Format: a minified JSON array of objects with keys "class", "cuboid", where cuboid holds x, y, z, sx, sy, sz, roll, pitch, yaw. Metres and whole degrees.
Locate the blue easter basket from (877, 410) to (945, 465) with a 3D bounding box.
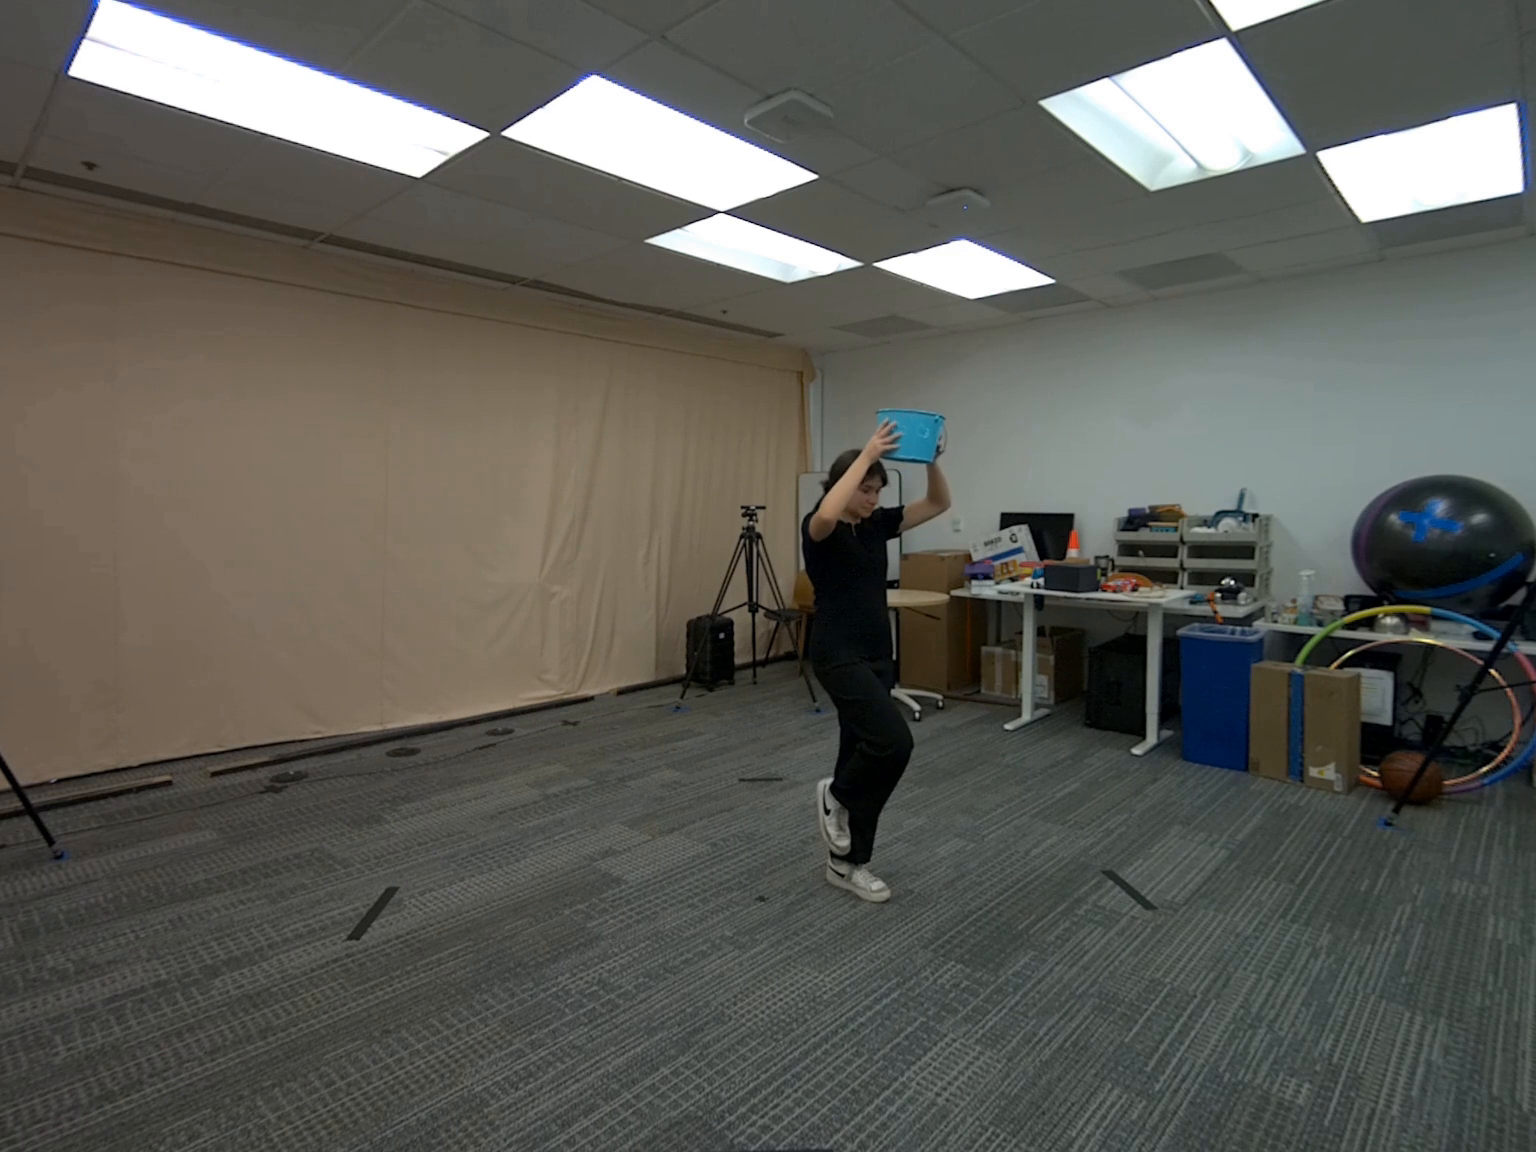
[{"class":"blue easter basket","cuboid":[0.479,-0.467,2.829,0.243,0.155,0.244,6,4,-2]}]
